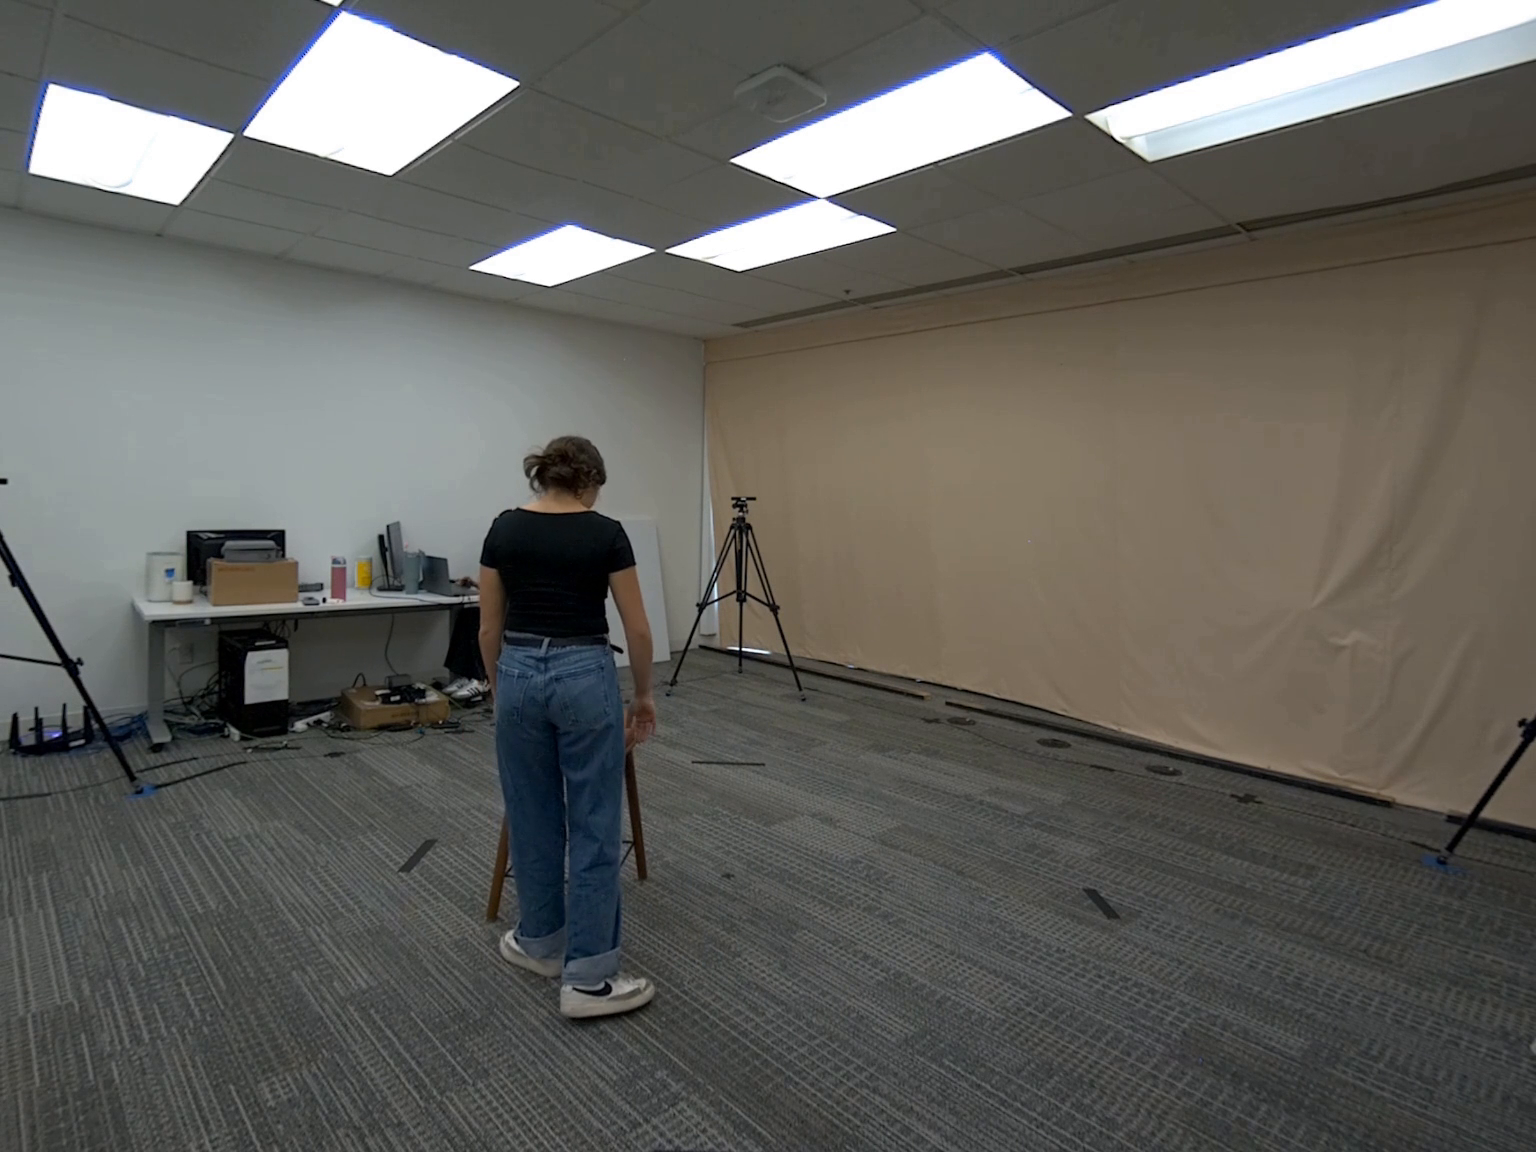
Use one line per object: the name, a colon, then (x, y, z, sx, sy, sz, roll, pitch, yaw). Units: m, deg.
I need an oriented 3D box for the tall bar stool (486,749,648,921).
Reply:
tall bar stool: (-0.677, 0.686, 2.872, 0.470, 0.887, 0.455, 1, 4, 6)
